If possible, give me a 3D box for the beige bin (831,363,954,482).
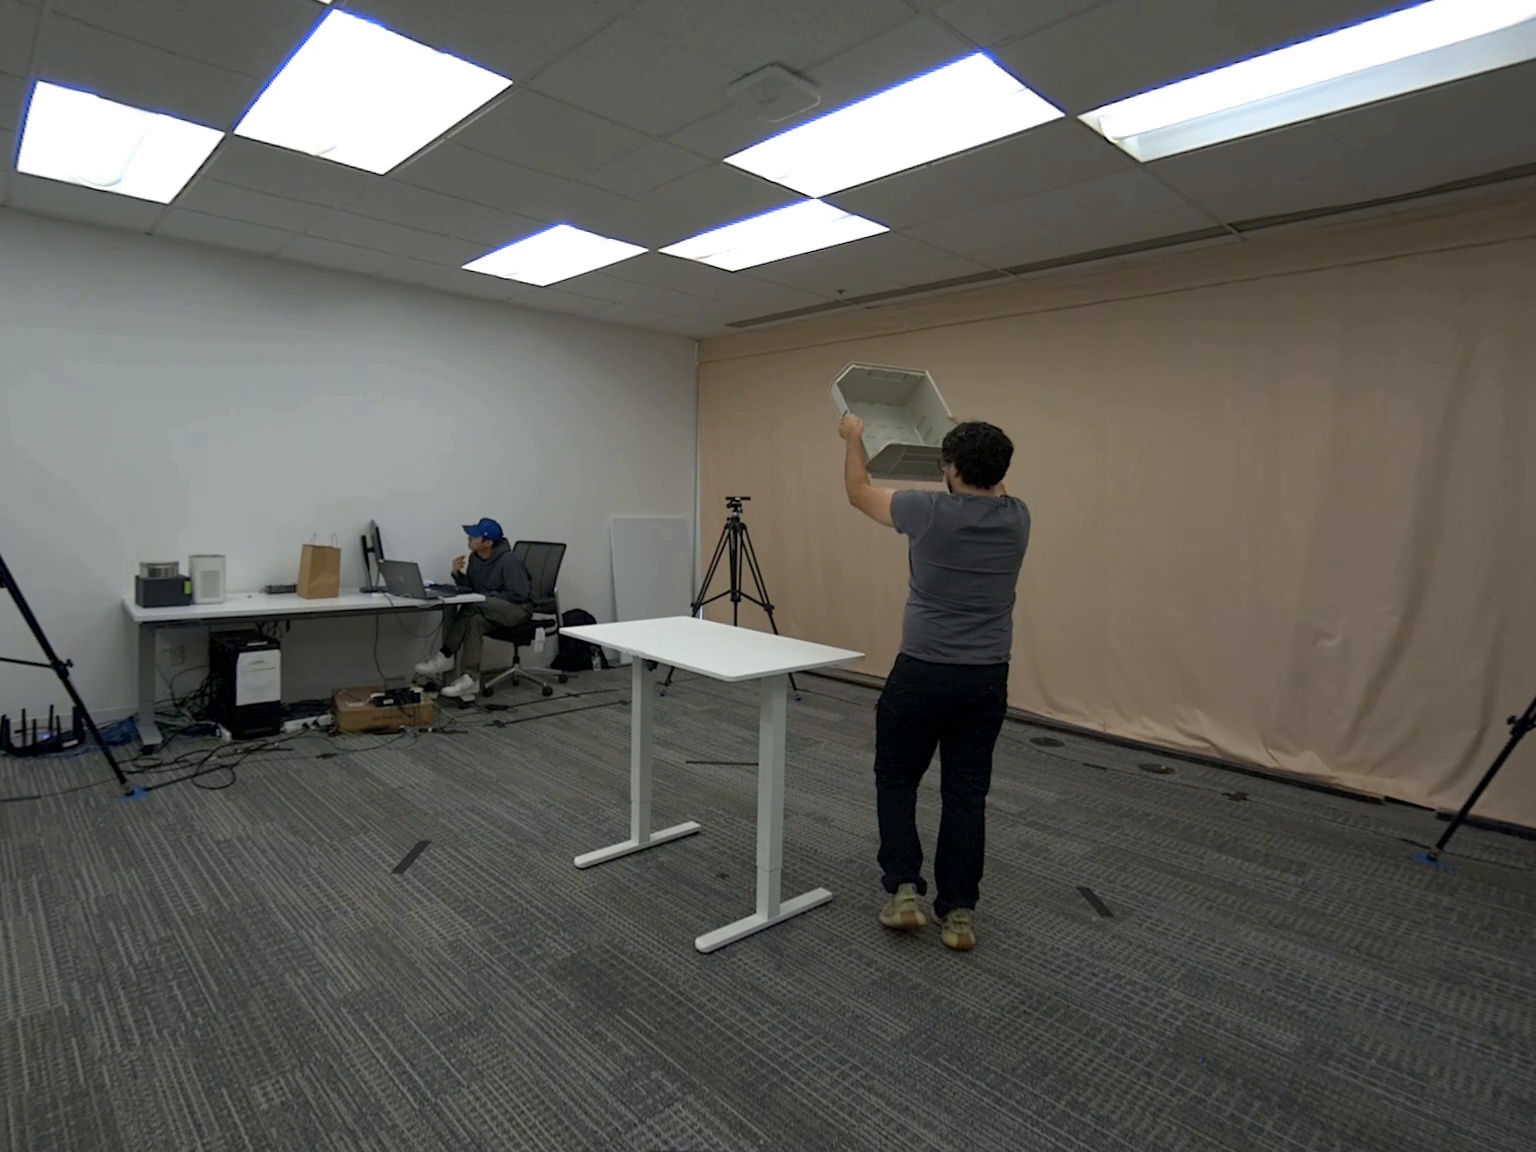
[{"bbox_3d":[0.456,-0.562,3.084,0.370,0.434,0.187,1,-39,-25],"label":"beige bin"}]
